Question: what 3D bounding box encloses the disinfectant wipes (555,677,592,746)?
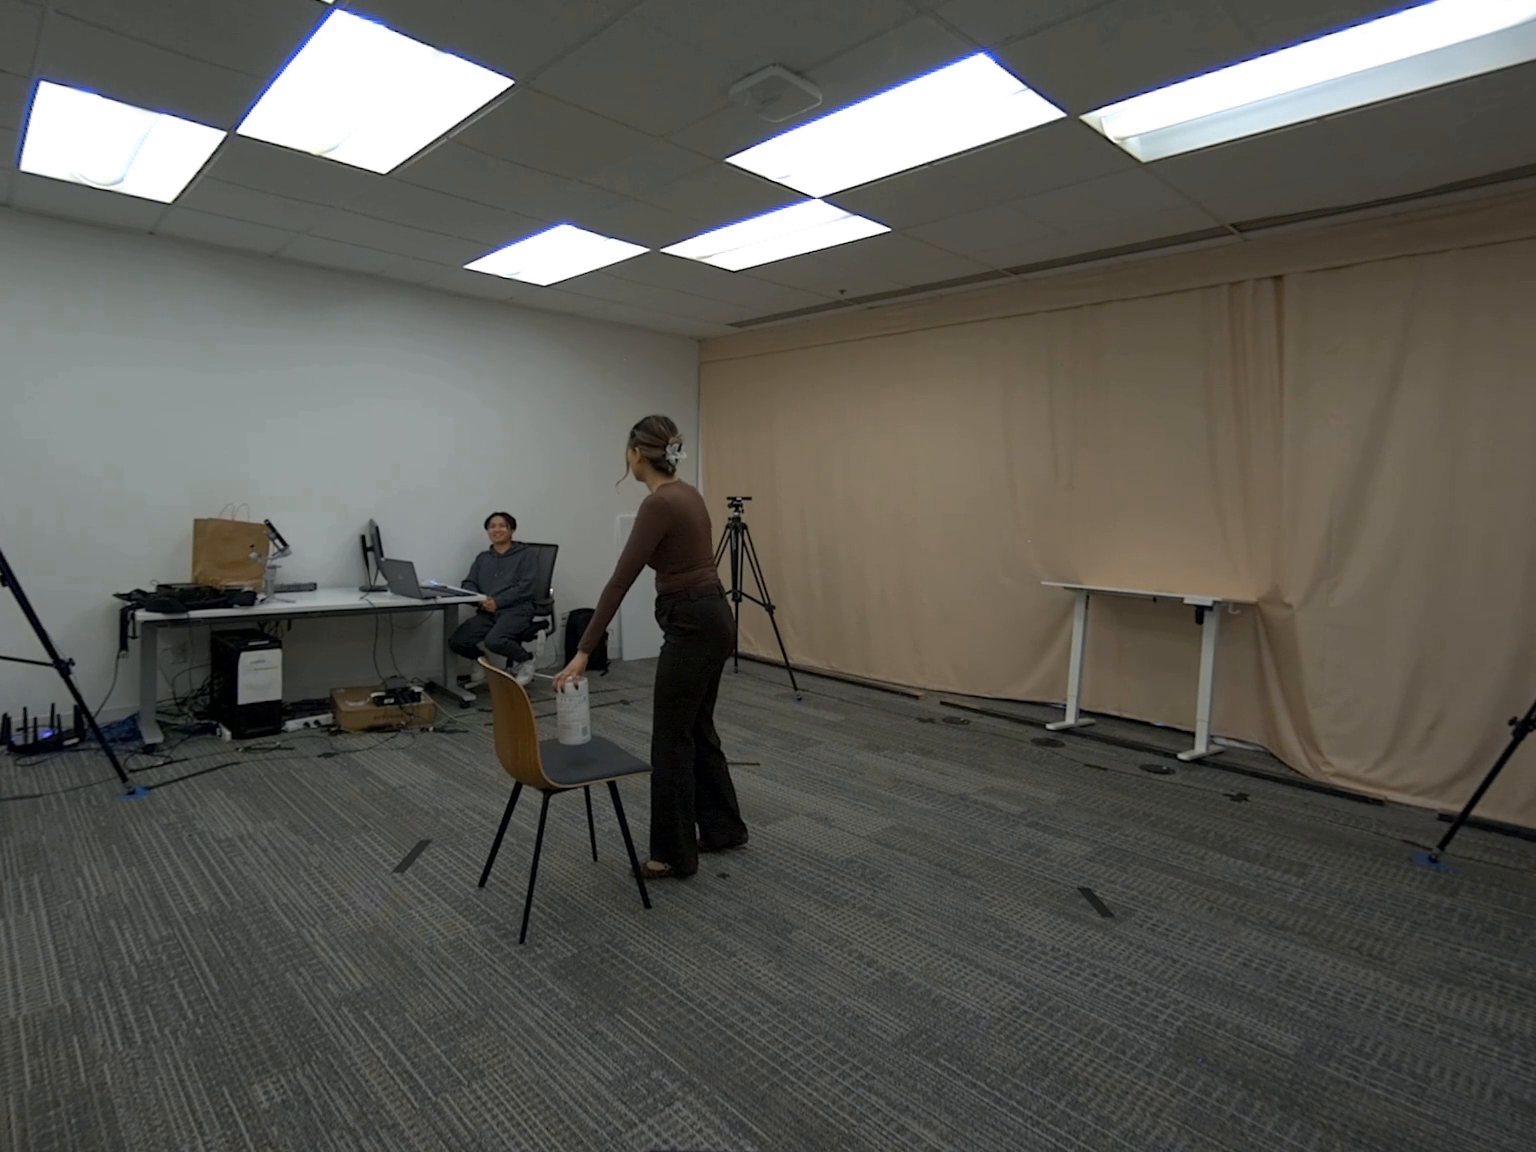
[{"bbox_3d":[-0.671,0.463,2.869,0.118,0.216,0.118,-3,5,-1],"label":"disinfectant wipes"}]
